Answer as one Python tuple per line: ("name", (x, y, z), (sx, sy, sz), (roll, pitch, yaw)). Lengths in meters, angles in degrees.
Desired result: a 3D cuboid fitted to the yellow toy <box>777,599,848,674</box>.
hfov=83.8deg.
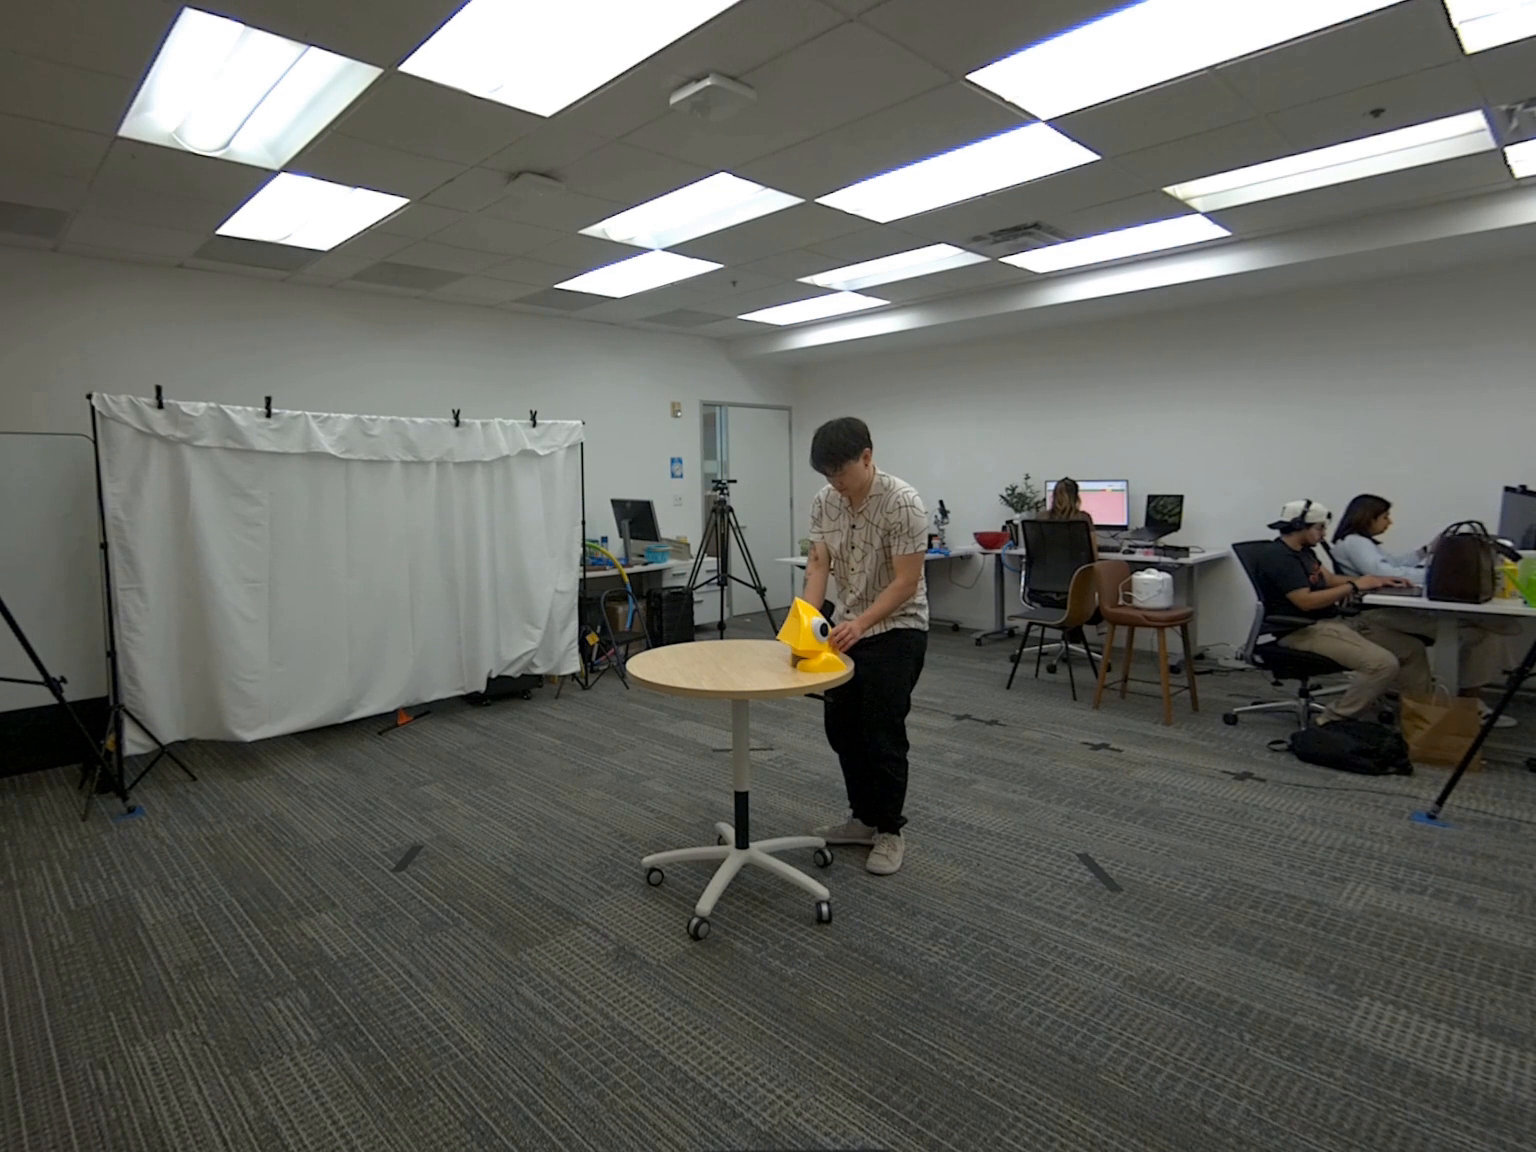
("yellow toy", (0.152, 0.181, 2.815), (0.190, 0.230, 0.209), (-2, 6, -18))
